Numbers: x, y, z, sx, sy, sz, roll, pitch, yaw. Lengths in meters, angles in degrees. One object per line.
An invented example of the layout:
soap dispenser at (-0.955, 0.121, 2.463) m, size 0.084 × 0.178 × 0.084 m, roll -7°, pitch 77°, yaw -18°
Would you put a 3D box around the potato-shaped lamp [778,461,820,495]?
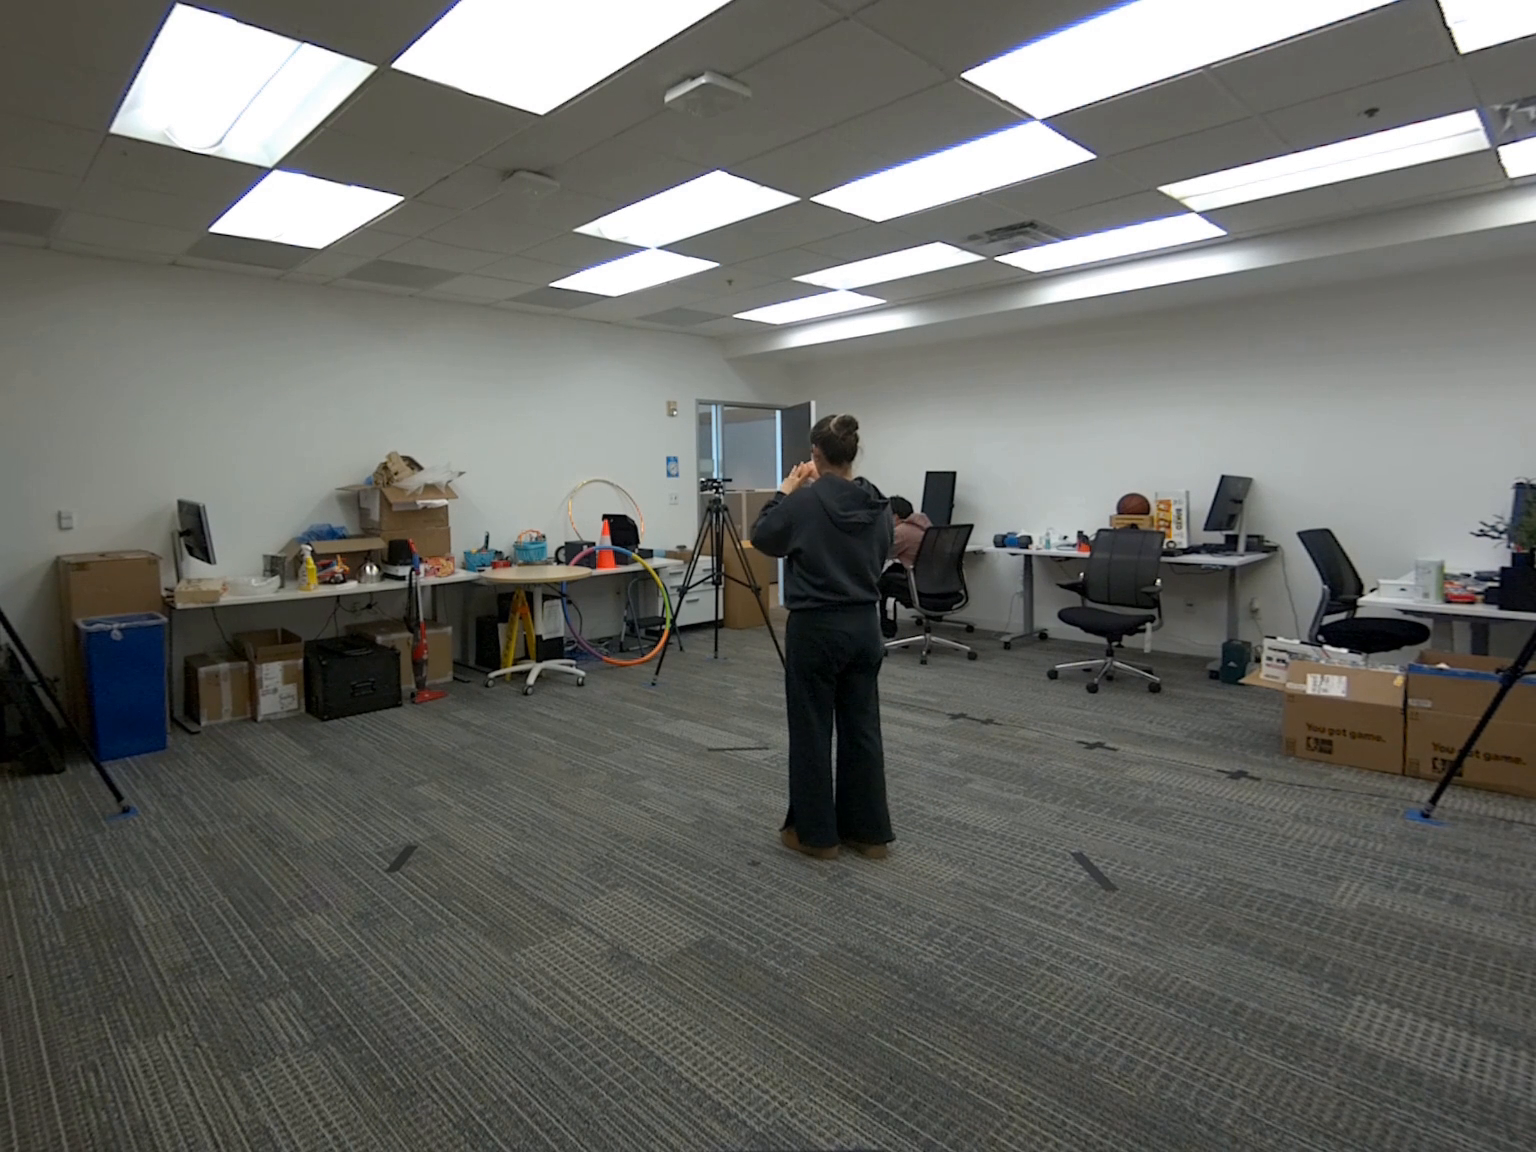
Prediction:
potato-shaped lamp at (0.212, -0.380, 3.449) m, size 0.165 × 0.174 × 0.195 m, roll -44°, pitch -11°, yaw 33°
